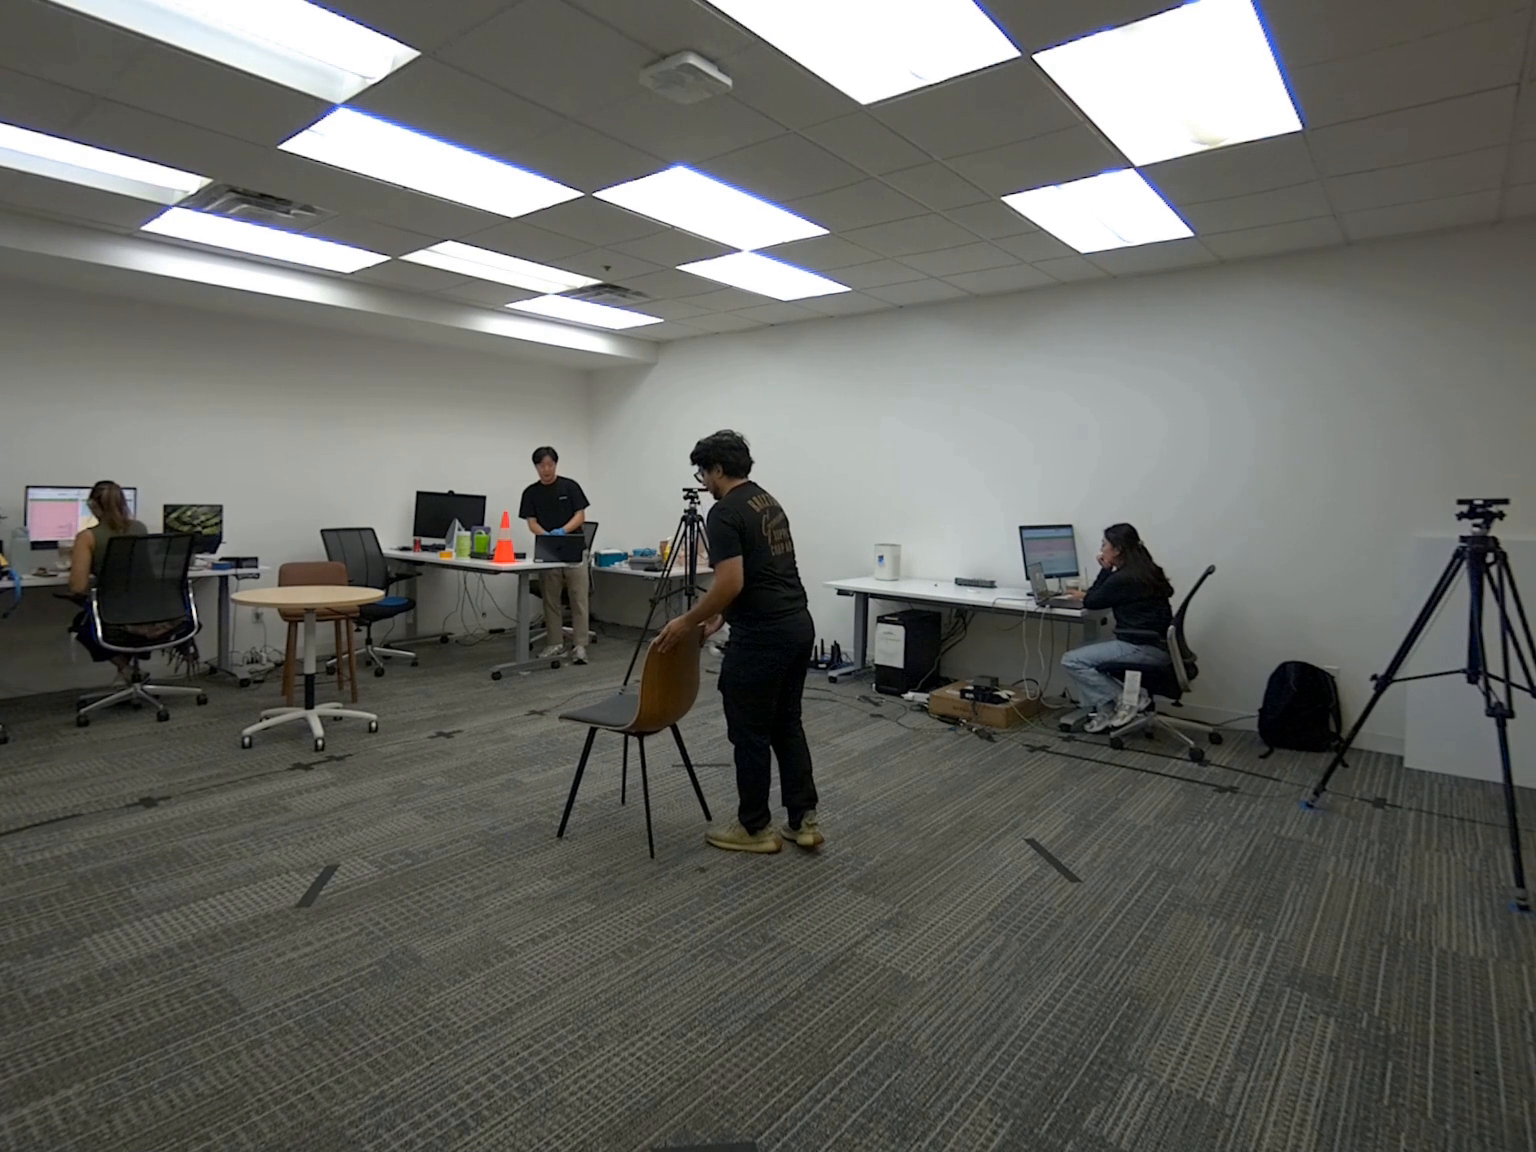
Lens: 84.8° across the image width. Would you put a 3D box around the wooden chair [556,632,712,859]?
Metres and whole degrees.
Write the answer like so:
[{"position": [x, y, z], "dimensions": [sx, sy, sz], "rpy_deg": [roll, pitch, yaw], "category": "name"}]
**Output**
[{"position": [-0.560, 0.597, 3.439], "dimensions": [0.538, 0.874, 0.466], "rpy_deg": [6, 5, 27], "category": "wooden chair"}]
